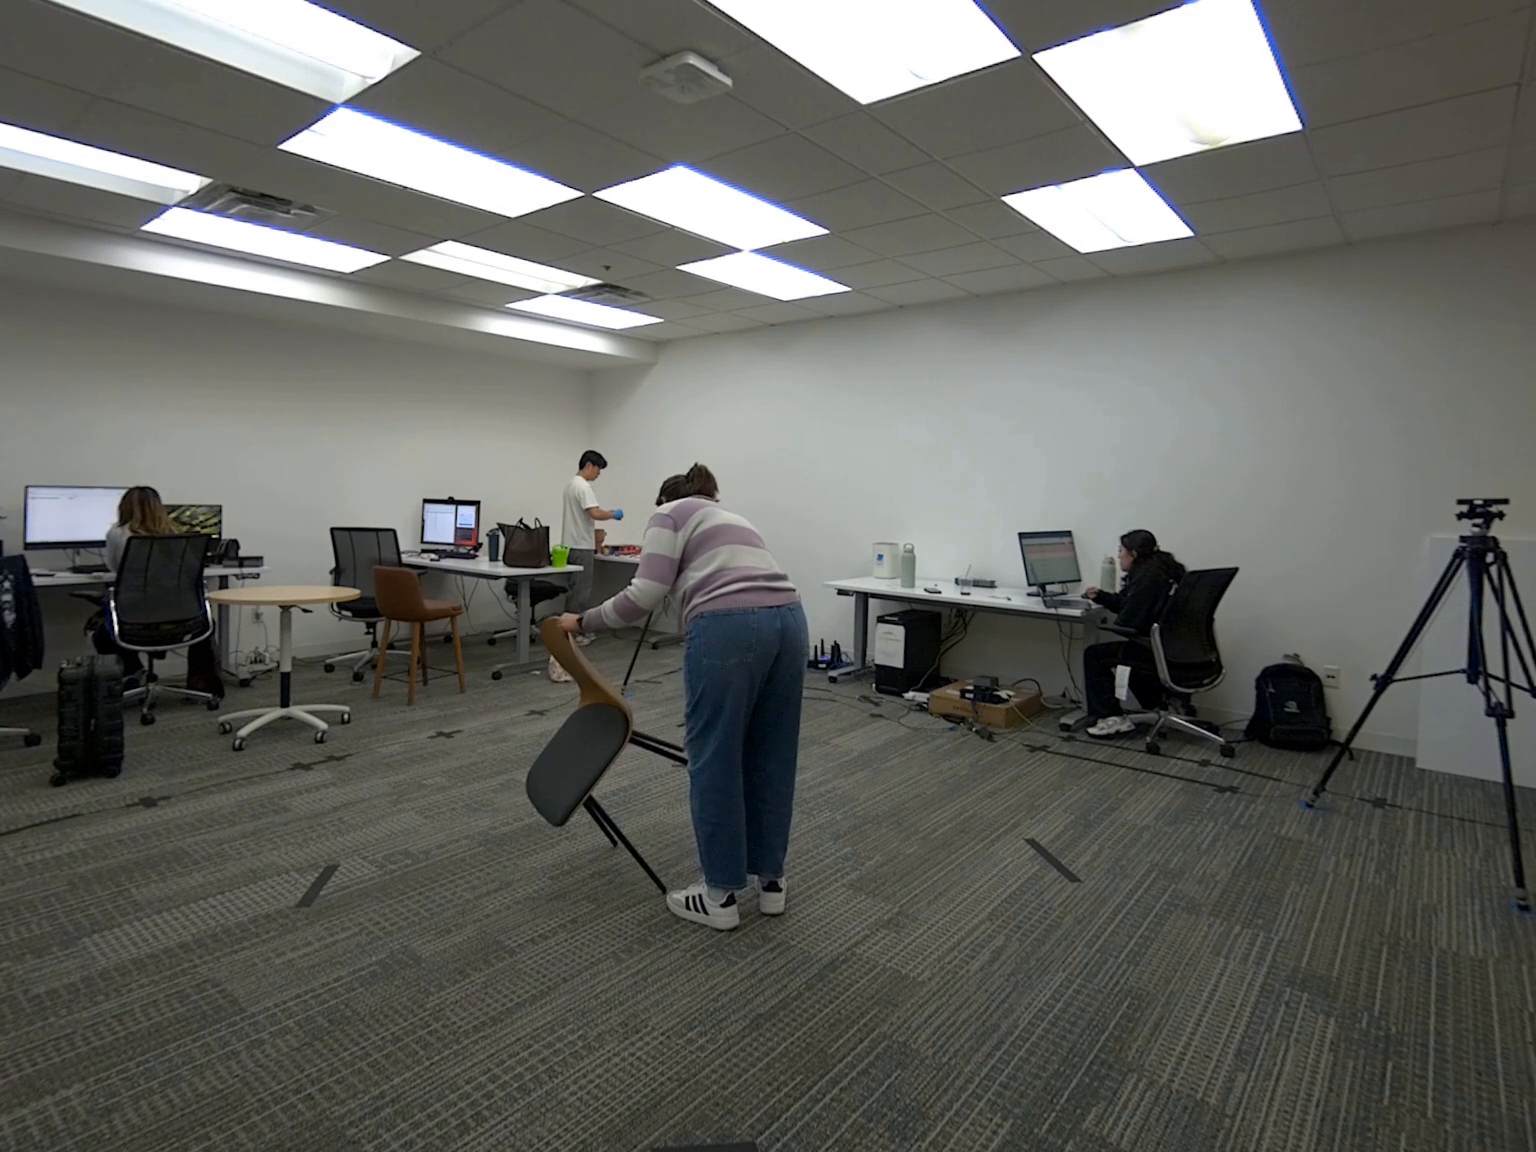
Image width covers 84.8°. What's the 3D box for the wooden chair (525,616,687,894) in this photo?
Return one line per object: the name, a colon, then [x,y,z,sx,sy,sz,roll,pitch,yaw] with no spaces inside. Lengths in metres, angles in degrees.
wooden chair: [-0.627,0.628,2.999,0.850,0.523,0.493,50,-20,-24]
